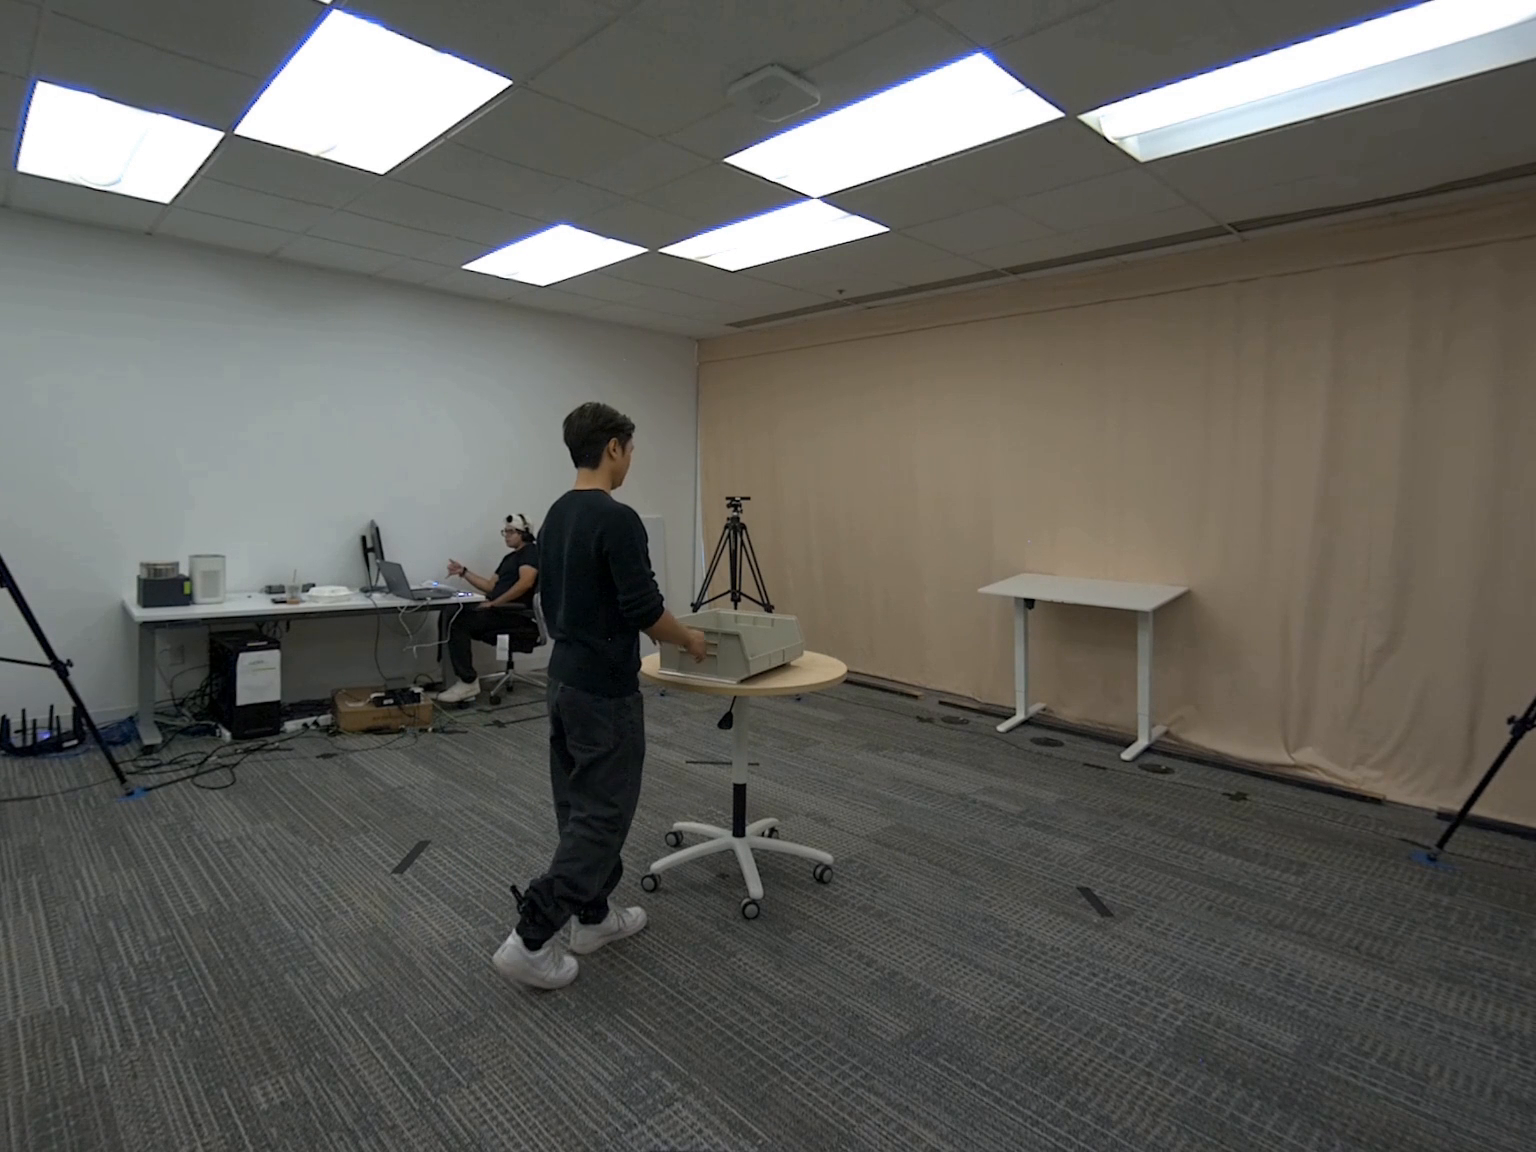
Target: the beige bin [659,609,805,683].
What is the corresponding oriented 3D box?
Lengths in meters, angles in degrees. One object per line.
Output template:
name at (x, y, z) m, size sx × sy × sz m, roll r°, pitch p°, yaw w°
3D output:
beige bin at (-0.139, 0.243, 2.988) m, size 0.385 × 0.188 × 0.415 m, roll 1°, pitch 5°, yaw 28°
